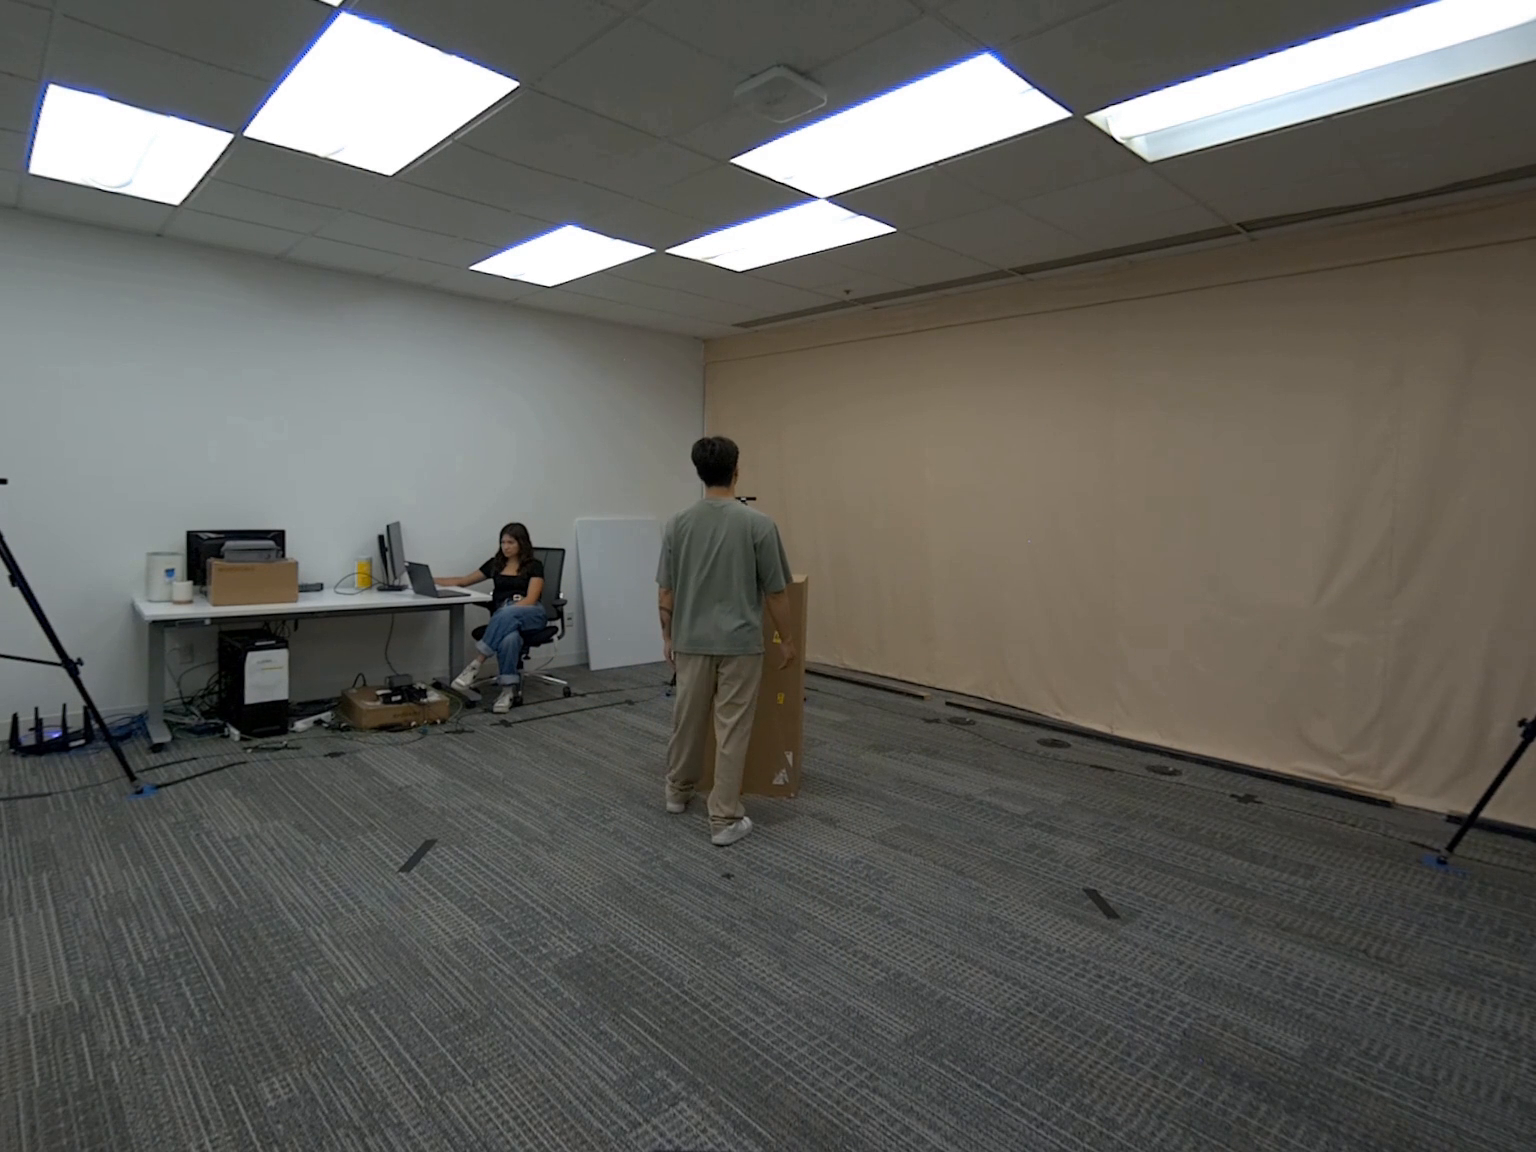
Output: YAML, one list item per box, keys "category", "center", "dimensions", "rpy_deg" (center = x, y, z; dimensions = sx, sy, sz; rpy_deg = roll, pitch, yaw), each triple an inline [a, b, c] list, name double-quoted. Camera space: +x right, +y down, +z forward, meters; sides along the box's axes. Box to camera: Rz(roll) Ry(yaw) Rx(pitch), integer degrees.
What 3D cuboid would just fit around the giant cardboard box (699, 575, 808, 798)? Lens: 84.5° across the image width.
- category: "giant cardboard box"
  center: [-0.126, 0.511, 4.174]
  dimensions: [0.581, 1.024, 0.424]
  rpy_deg: [2, 3, 6]
